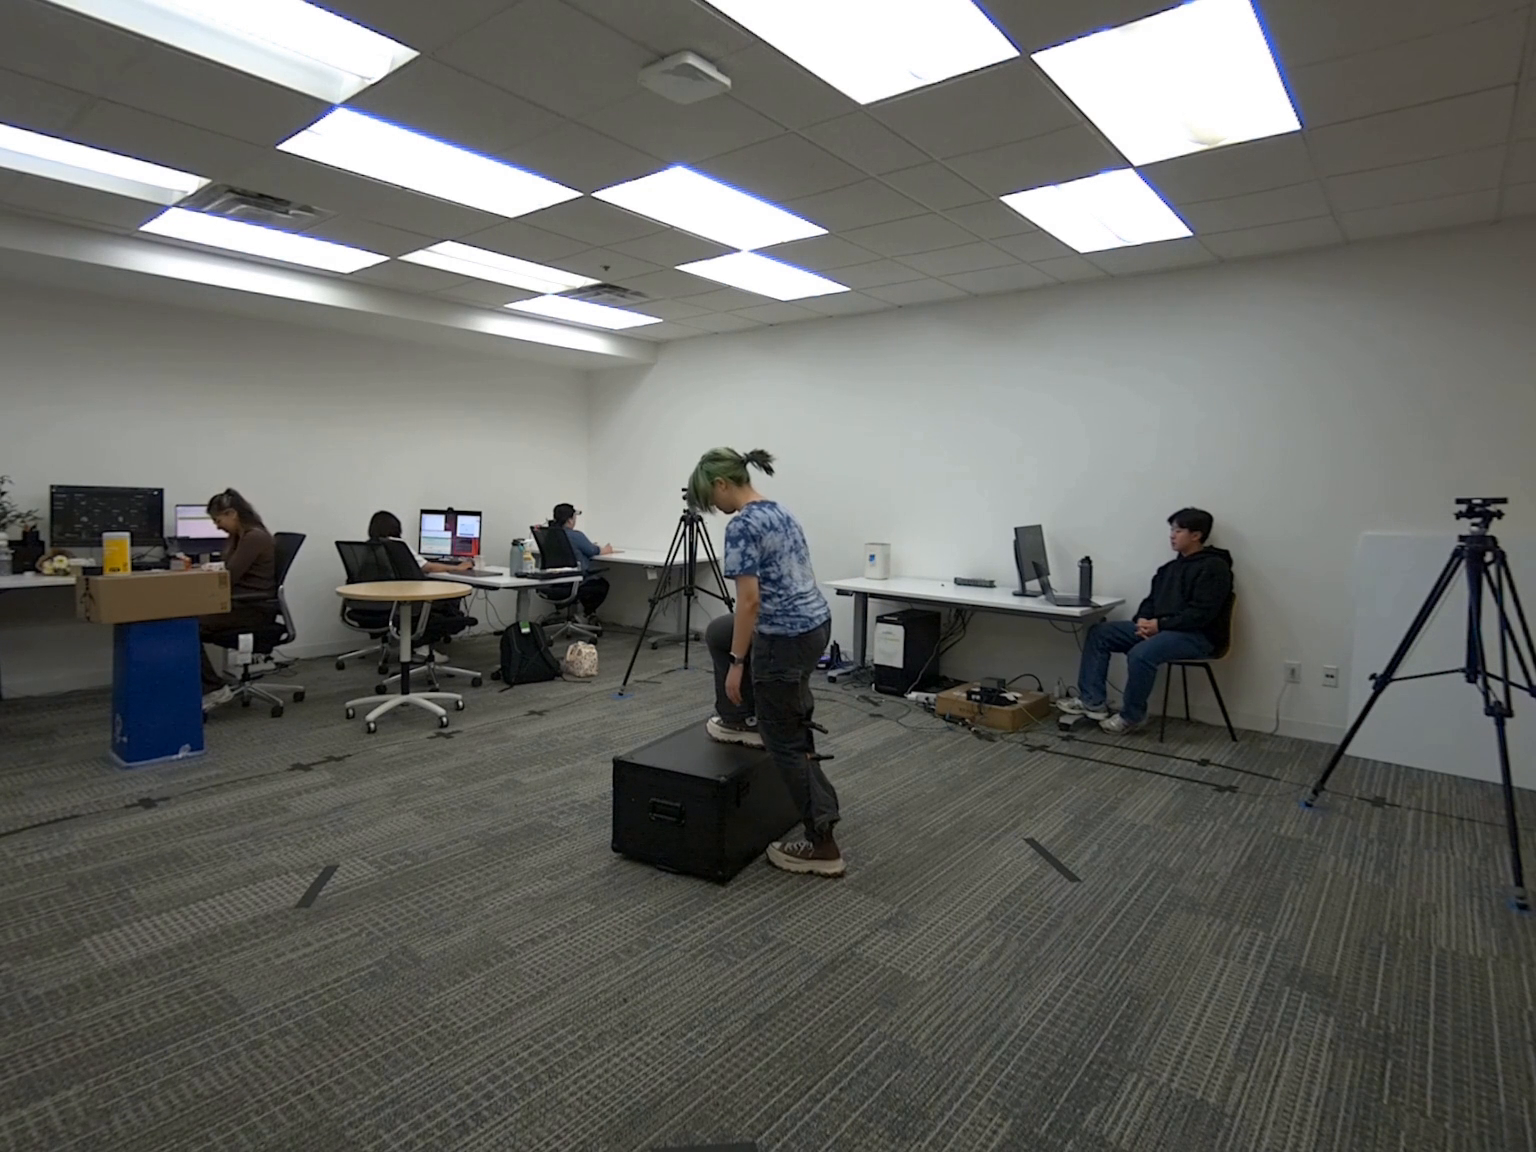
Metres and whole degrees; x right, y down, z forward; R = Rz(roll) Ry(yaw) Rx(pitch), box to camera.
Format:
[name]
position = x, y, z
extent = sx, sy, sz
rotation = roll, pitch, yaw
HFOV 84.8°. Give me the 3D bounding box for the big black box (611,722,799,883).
[big black box]
position = -0.196, 0.849, 3.431
extent = 0.535, 0.395, 0.841
rotation = 3, 5, 26
